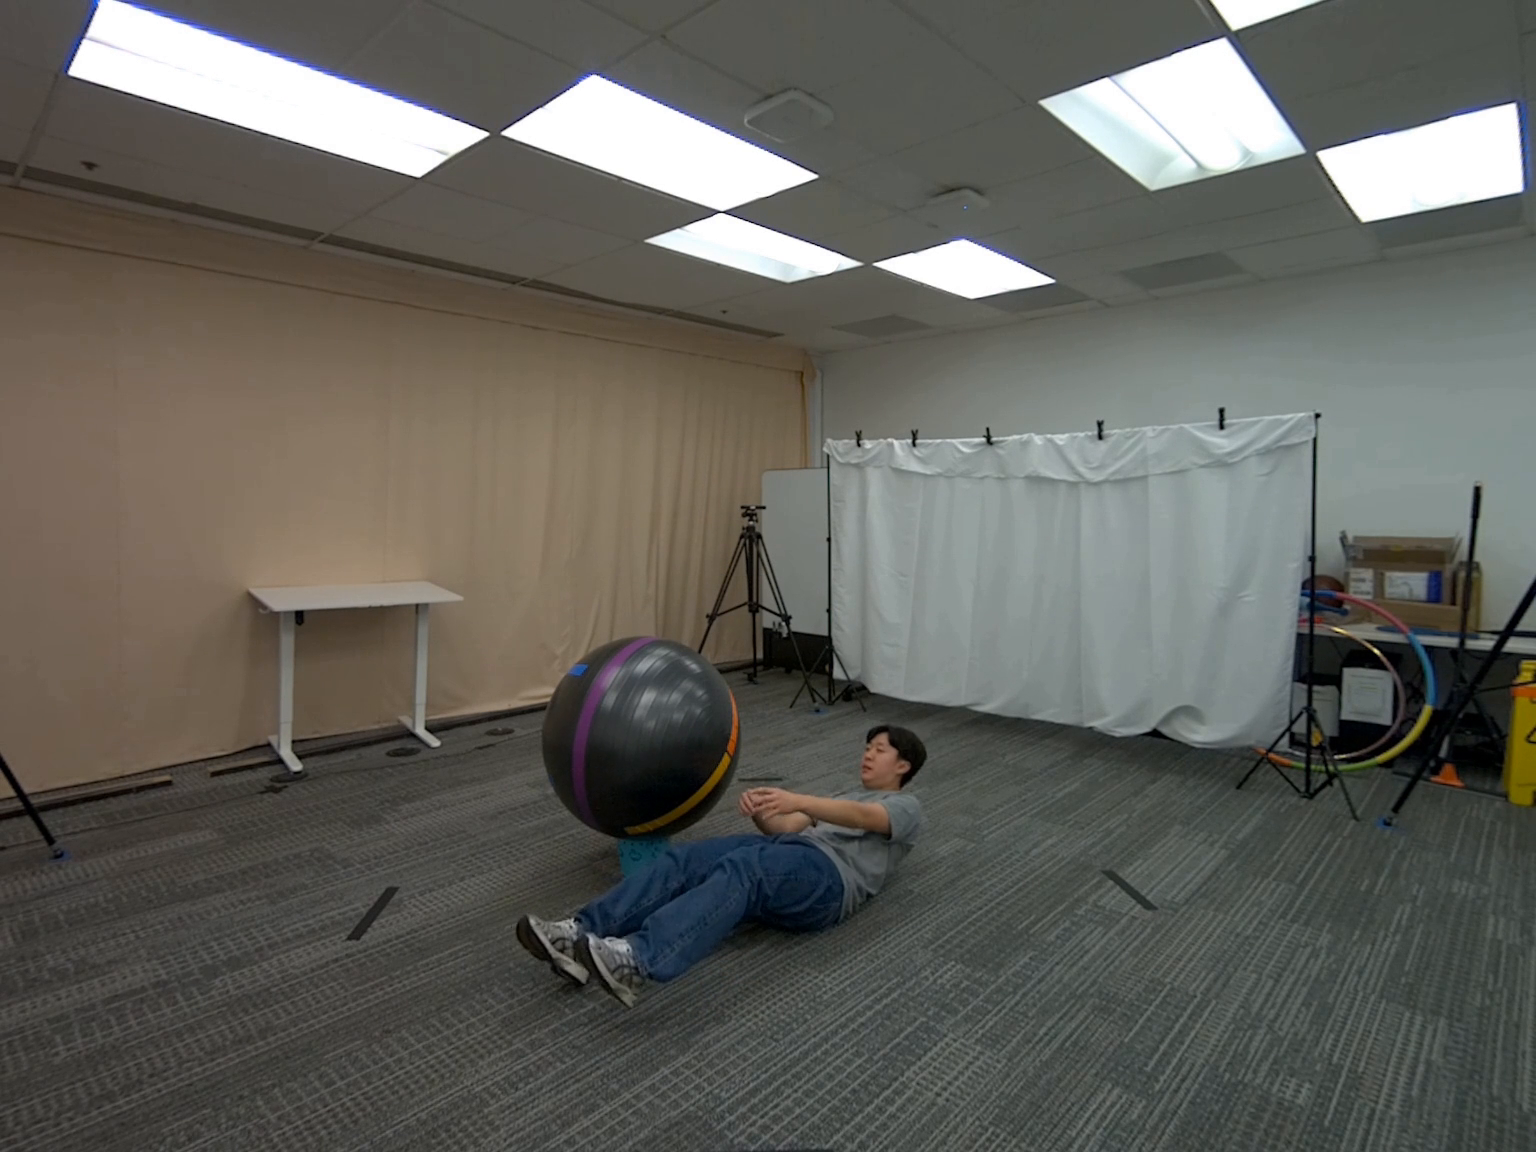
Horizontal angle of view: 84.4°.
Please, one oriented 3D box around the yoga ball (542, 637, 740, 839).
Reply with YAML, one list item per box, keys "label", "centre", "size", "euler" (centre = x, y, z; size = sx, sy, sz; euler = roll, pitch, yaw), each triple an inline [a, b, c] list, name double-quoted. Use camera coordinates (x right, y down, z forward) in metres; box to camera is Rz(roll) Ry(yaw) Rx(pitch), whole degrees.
- label: "yoga ball"
  centre: [-0.481, 0.614, 3.227]
  size: [0.757, 0.756, 0.760]
  euler: [0, 4, -2]
